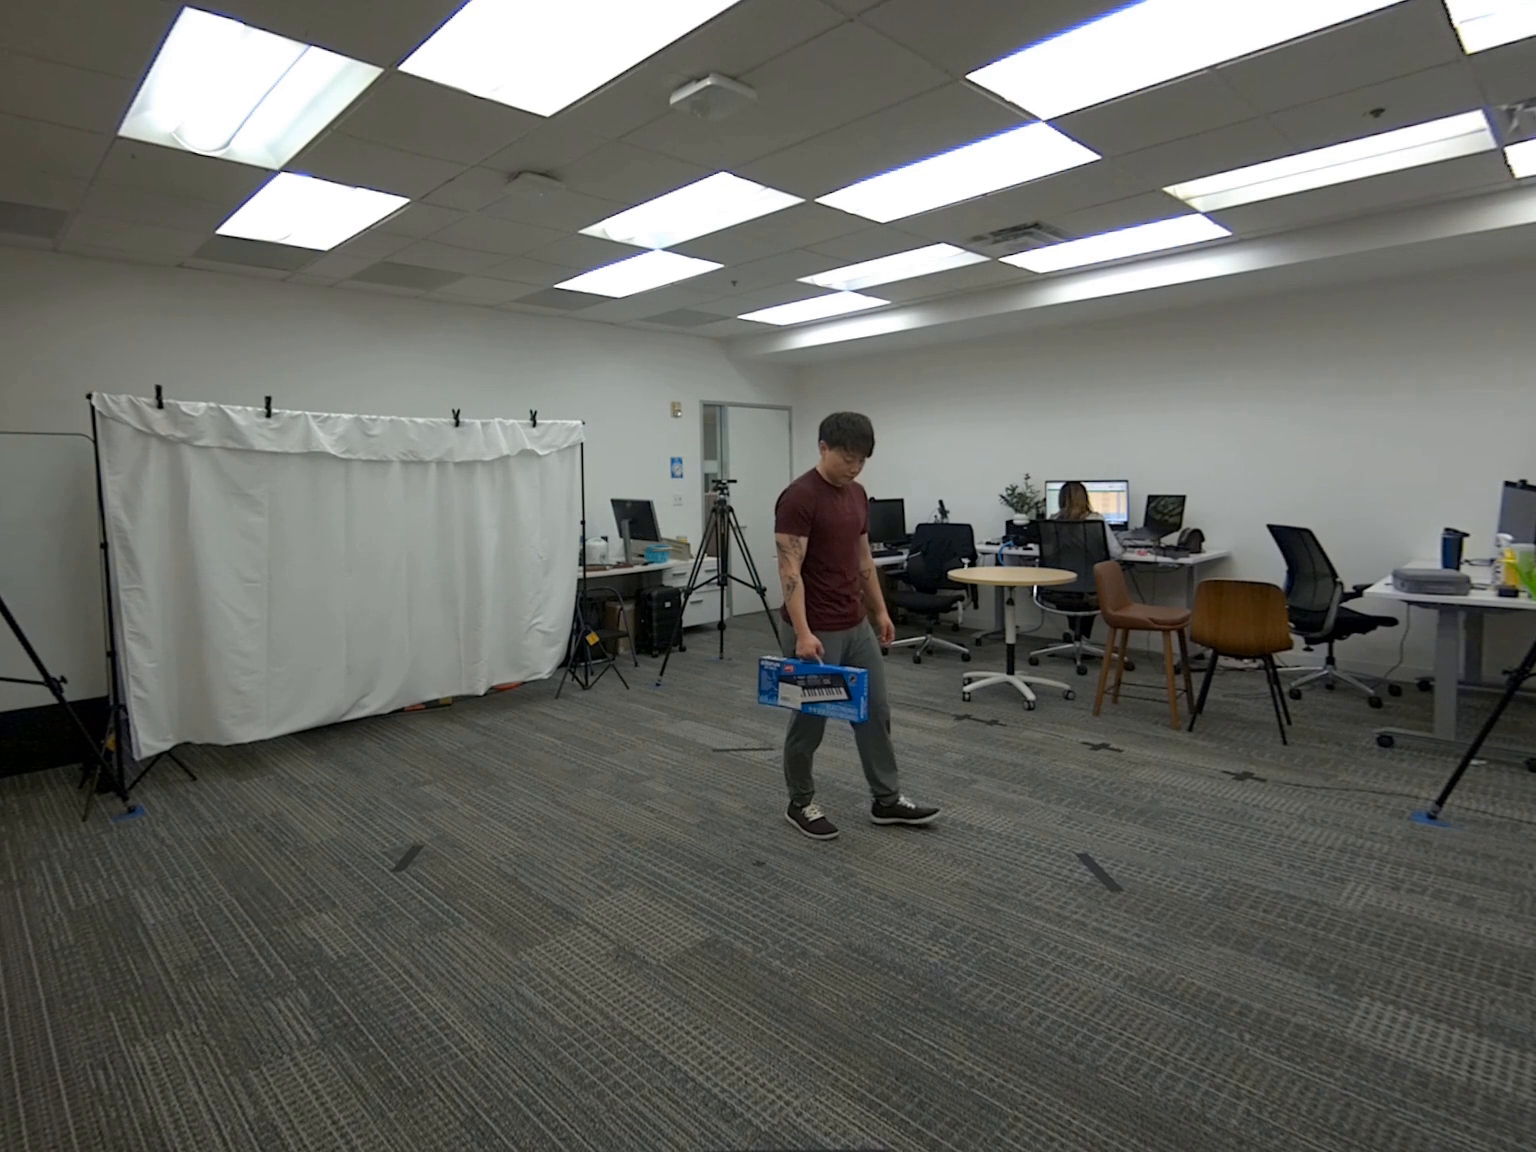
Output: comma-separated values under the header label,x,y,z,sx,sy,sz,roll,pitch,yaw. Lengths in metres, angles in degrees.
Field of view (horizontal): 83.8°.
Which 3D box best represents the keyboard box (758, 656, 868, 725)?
label,x,y,z,sx,sy,sz,roll,pitch,yaw
keyboard box,0.151,0.402,3.065,0.450,0.175,0.057,4,4,39
